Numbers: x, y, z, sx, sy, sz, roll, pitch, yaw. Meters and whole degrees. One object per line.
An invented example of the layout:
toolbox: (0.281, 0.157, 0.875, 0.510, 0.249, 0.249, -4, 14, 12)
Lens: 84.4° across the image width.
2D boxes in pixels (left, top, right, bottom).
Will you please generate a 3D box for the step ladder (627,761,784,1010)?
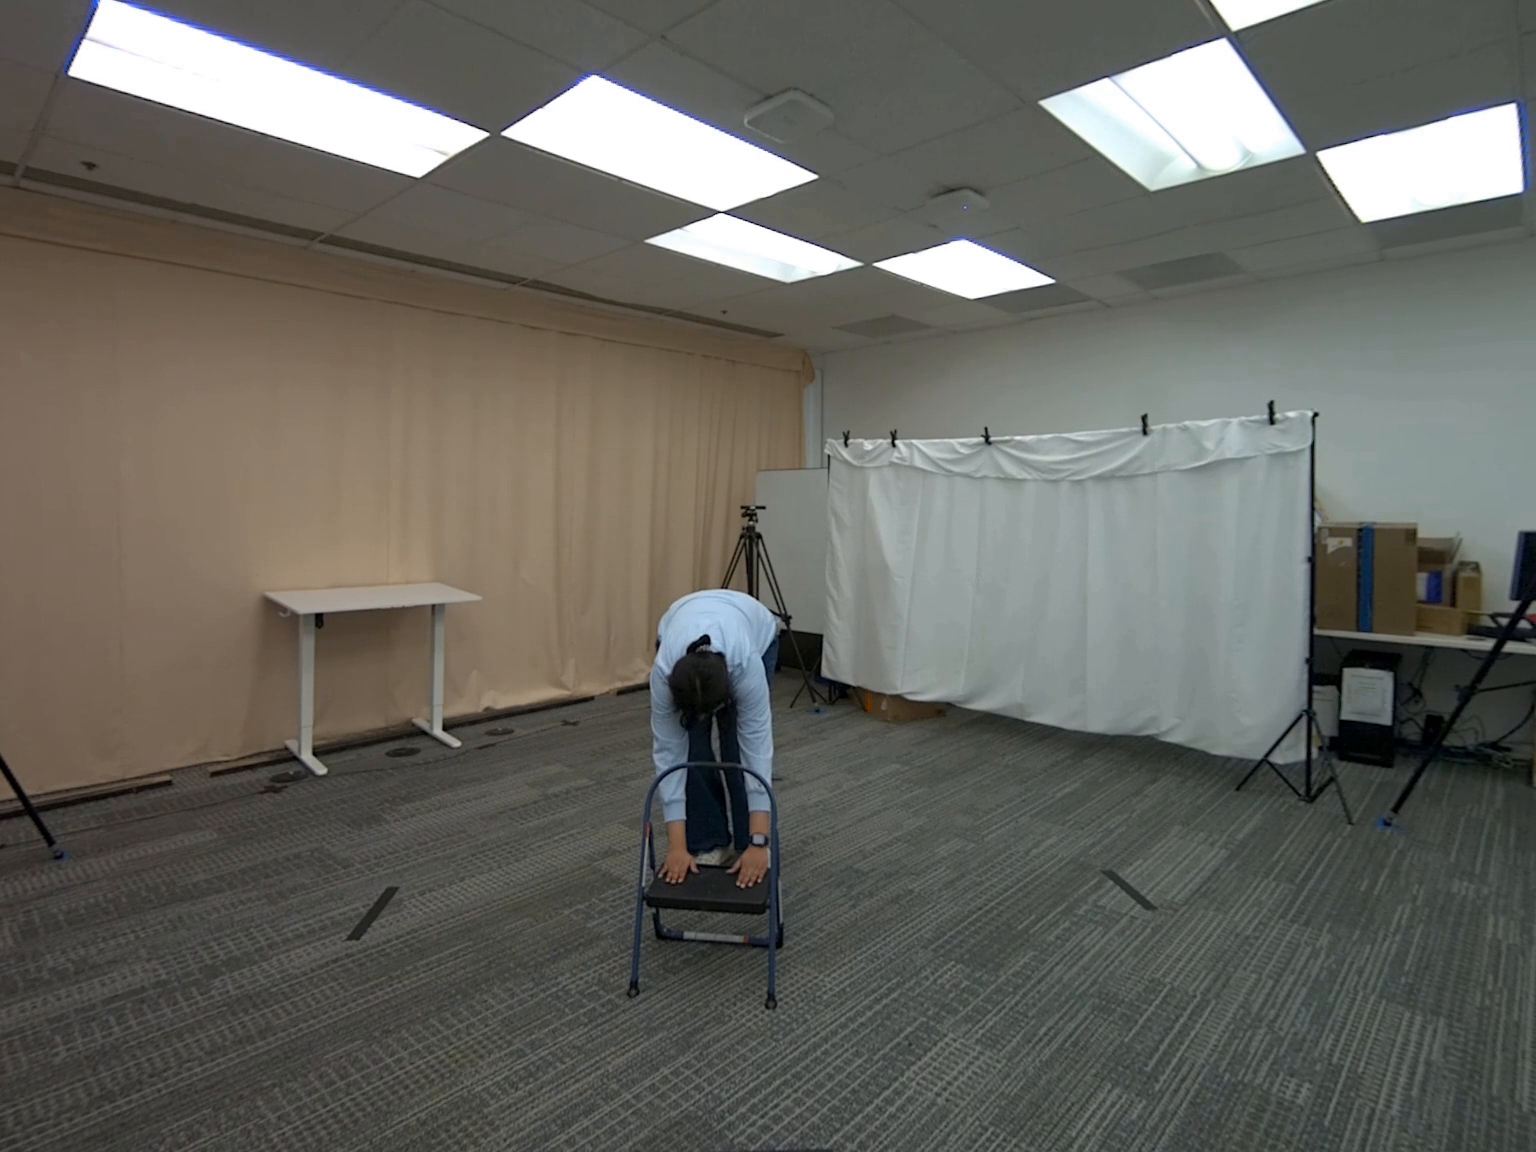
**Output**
step ladder: (-0.173, 0.878, 2.520, 0.434, 0.605, 0.347, 0, 3, 7)
